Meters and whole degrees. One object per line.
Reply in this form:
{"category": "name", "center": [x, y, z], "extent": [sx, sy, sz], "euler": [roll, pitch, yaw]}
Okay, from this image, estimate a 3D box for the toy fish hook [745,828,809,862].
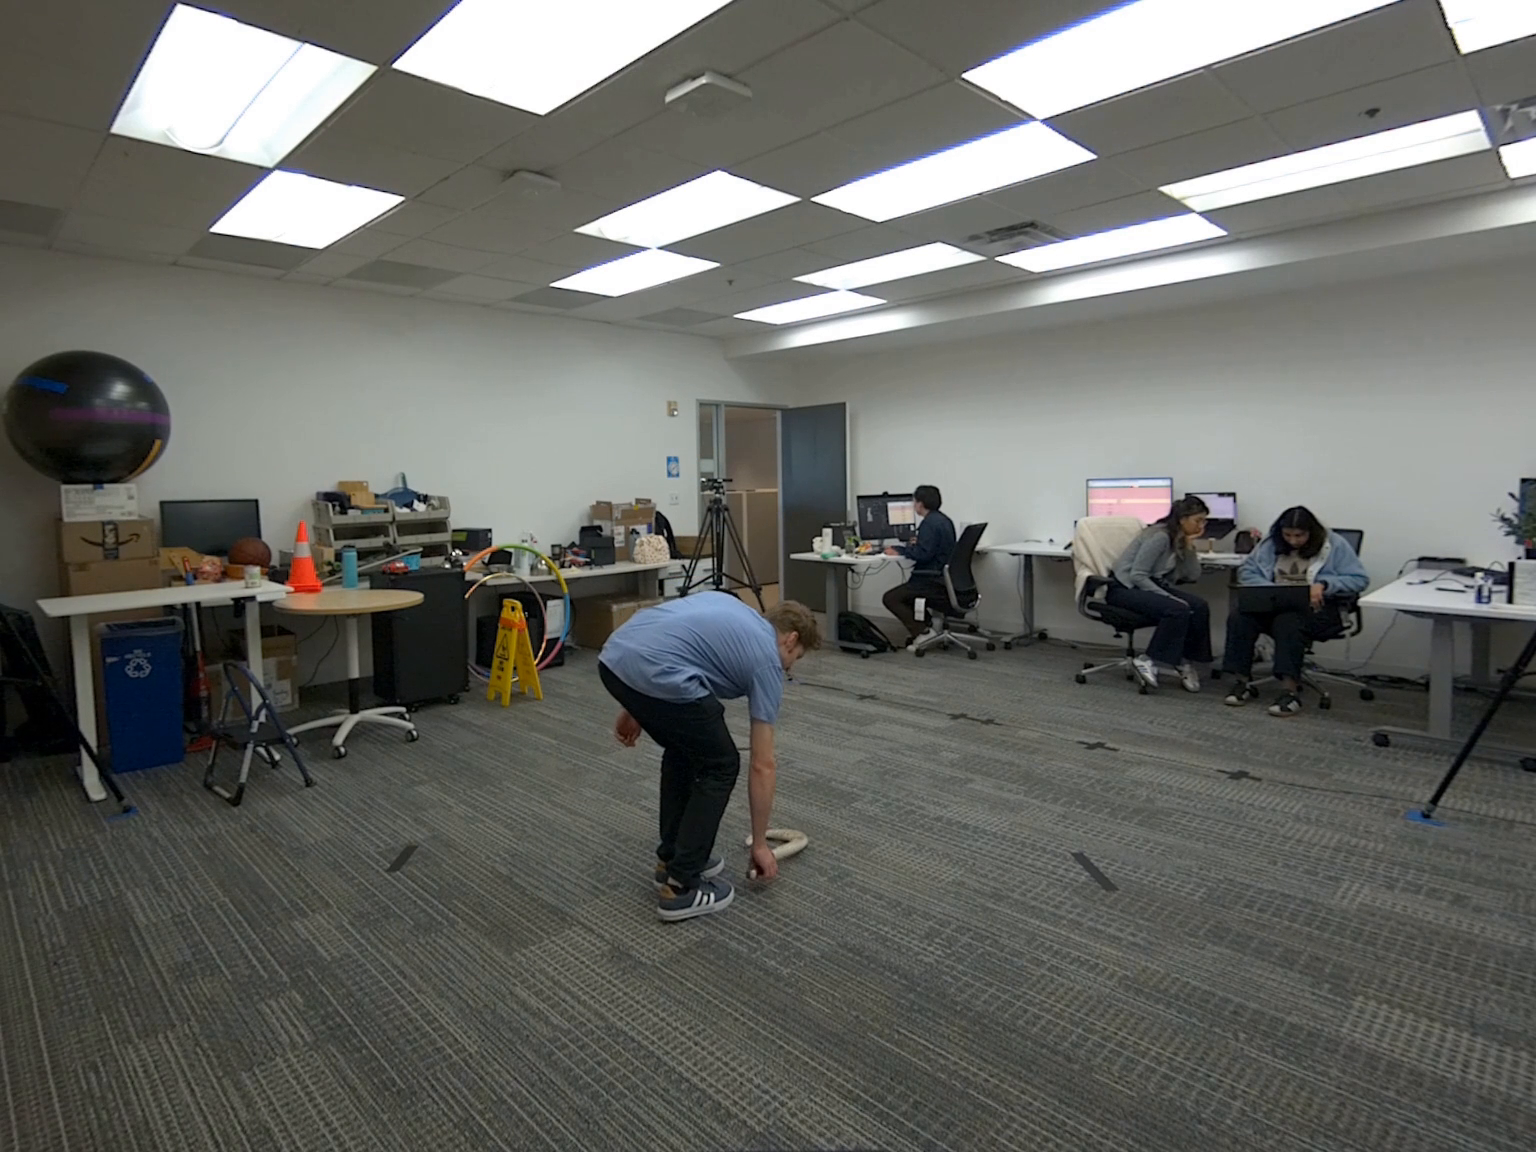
{"category": "toy fish hook", "center": [-0.009, 1.004, 3.108], "extent": [0.229, 0.048, 0.495], "euler": [-4, -2, 22]}
